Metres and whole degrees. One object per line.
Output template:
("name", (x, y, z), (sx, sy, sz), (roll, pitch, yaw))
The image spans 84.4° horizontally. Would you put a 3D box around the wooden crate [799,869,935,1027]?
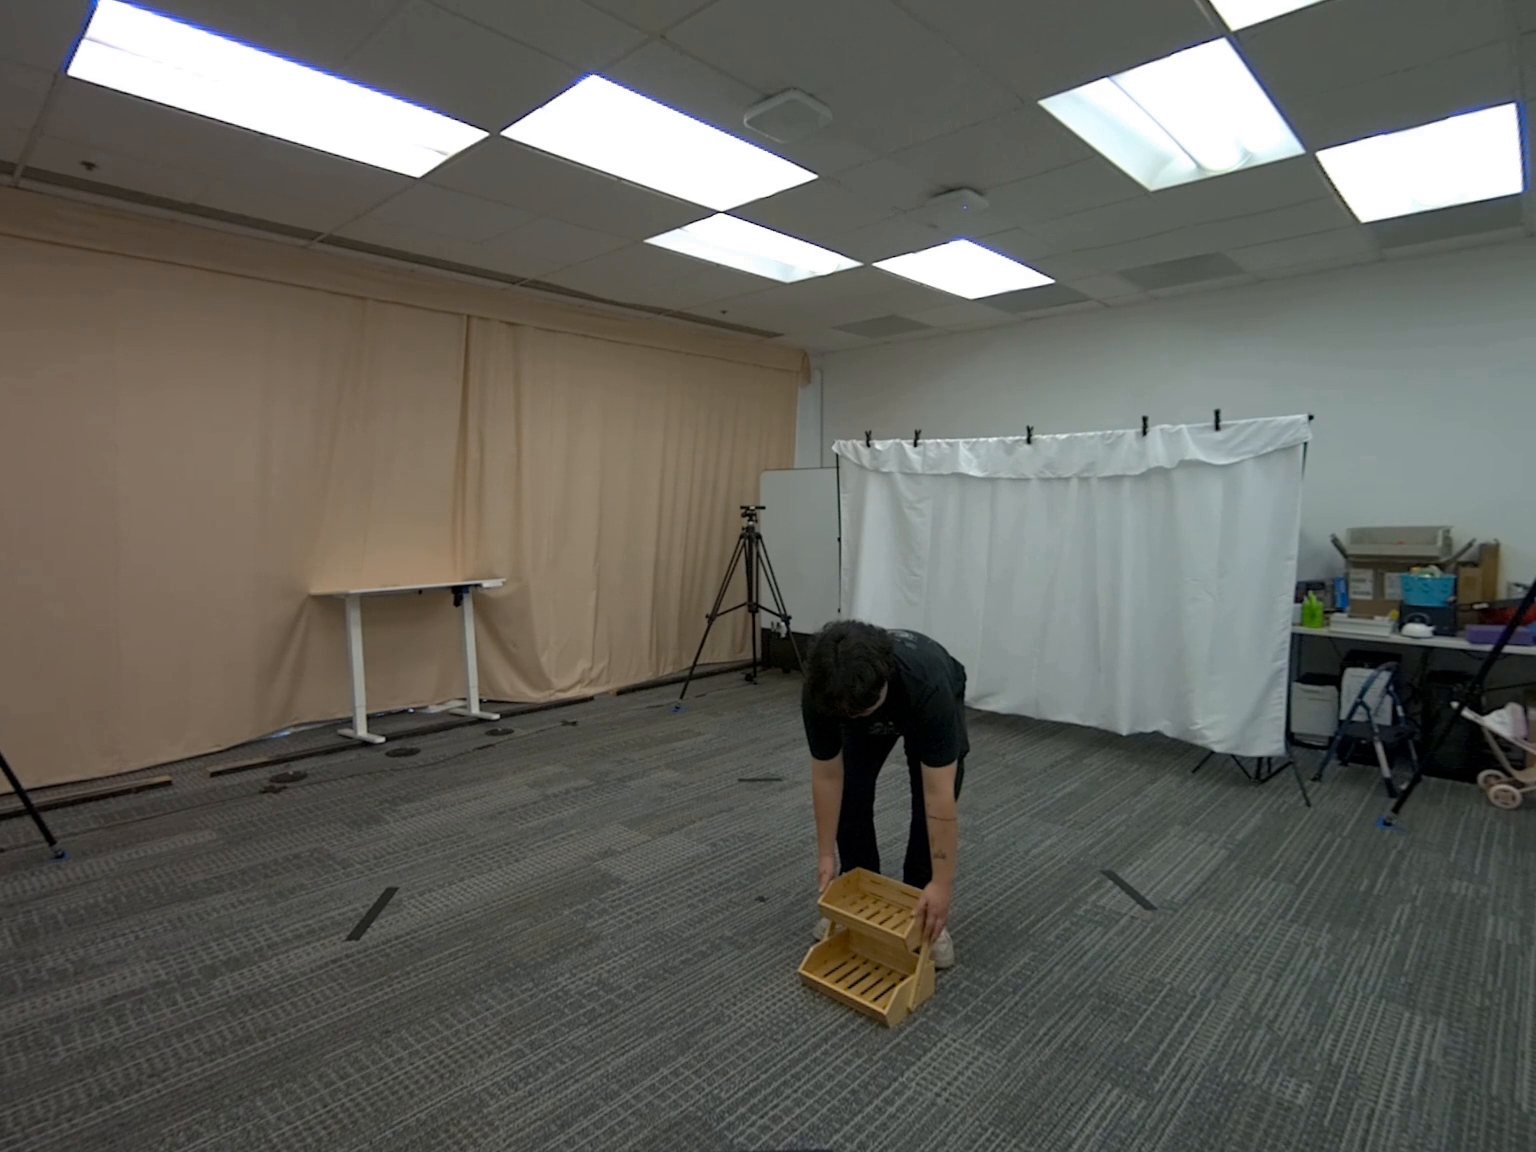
("wooden crate", (0.302, 1.053, 2.439), (0.335, 0.273, 0.292), (3, 4, 42))
